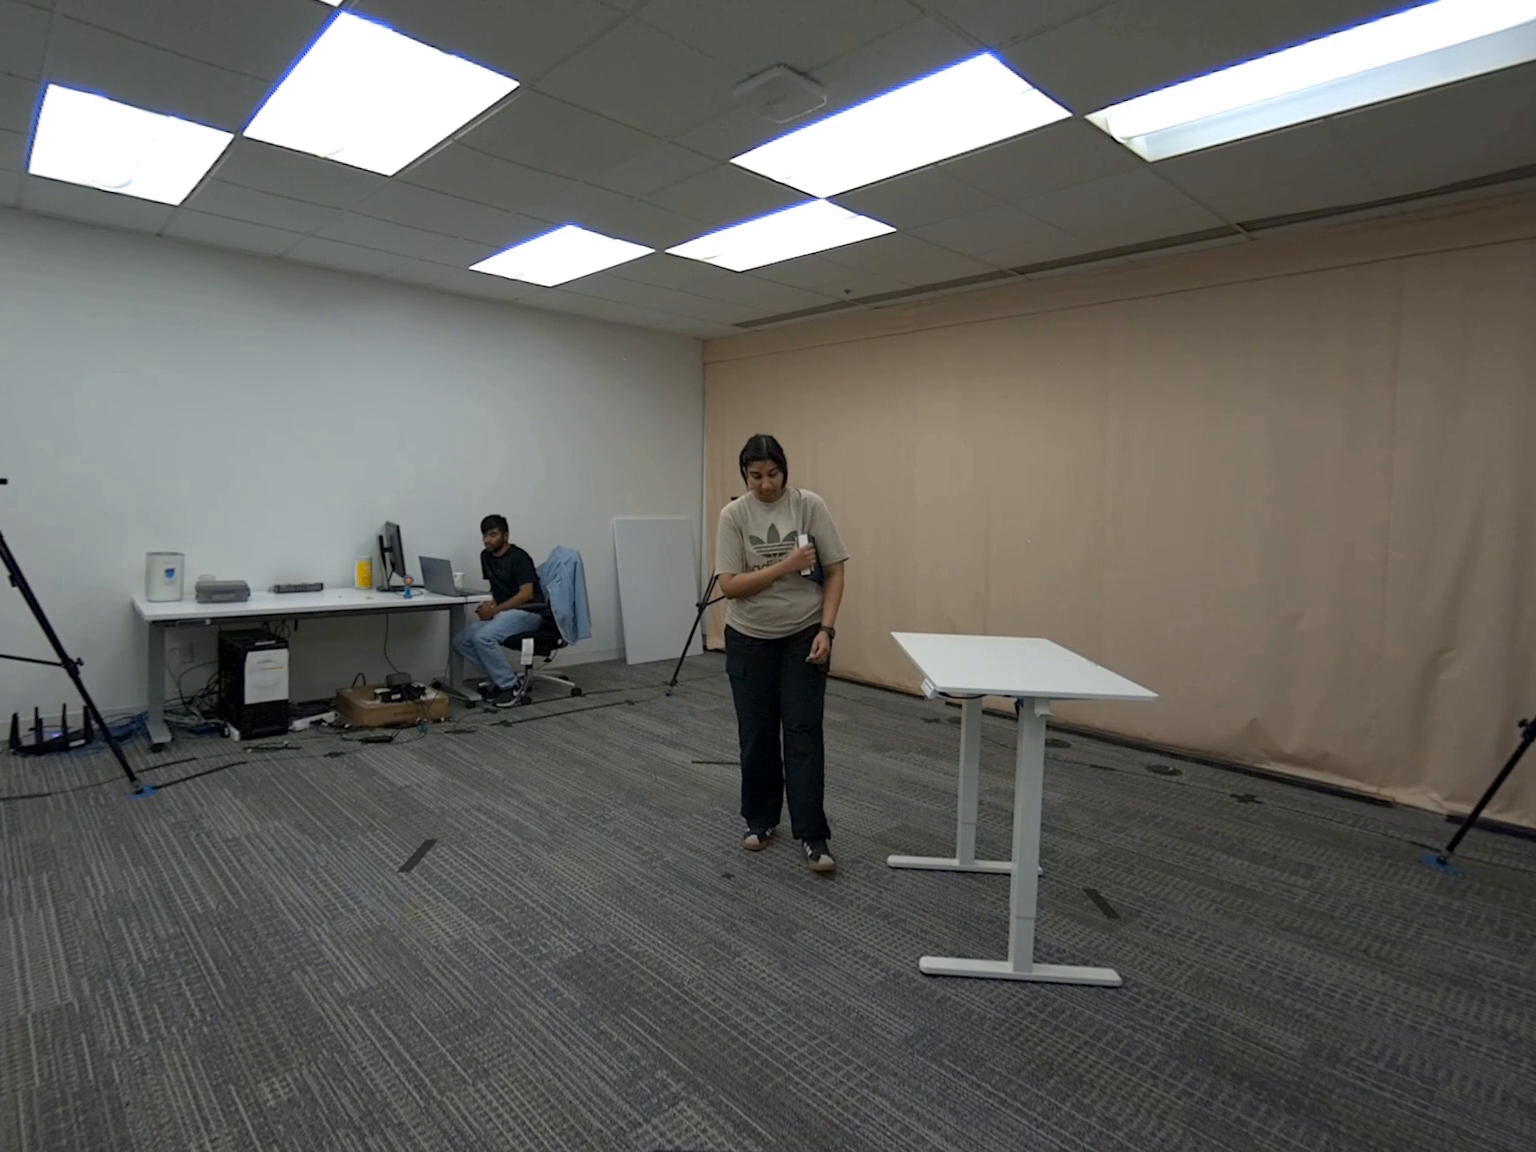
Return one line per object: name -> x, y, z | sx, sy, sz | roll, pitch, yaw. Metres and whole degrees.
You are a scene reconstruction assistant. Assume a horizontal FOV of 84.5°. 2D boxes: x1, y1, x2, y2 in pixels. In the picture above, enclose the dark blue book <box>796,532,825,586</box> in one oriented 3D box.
dark blue book -> 0.156, -0.070, 3.304 | 0.046, 0.165, 0.240 | -4, -10, 18
